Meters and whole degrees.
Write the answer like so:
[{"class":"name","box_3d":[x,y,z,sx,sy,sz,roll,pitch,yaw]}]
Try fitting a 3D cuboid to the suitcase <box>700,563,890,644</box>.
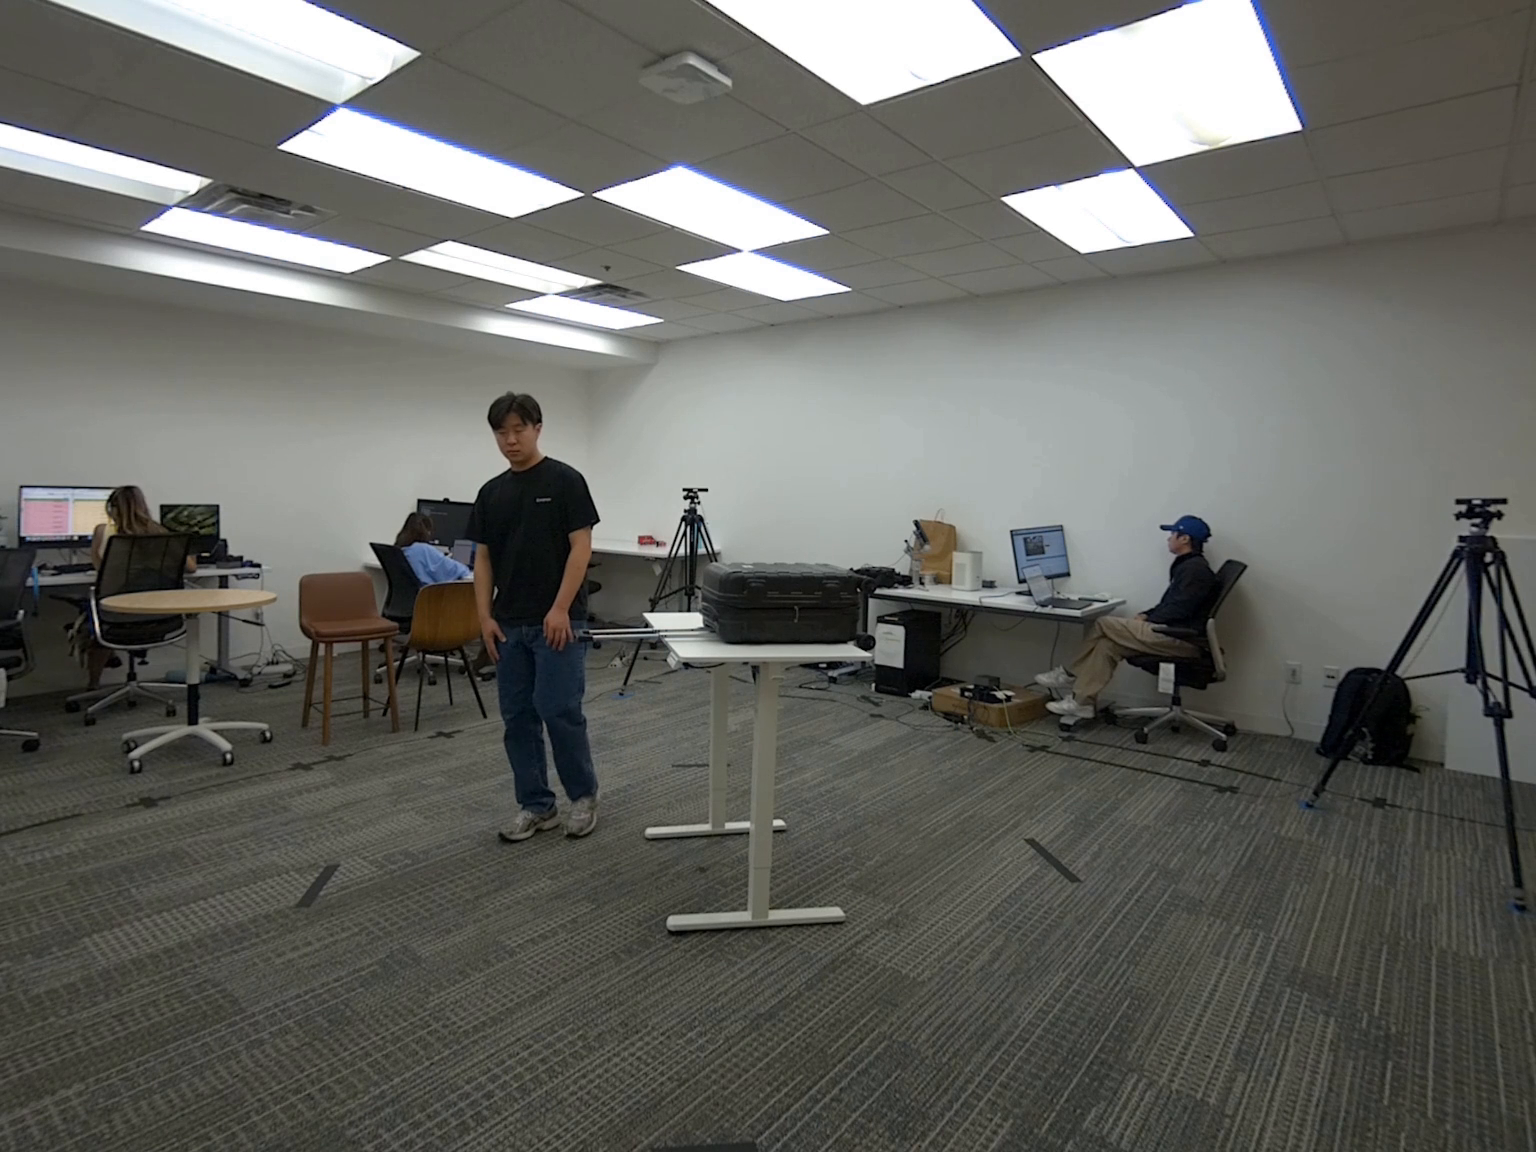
[{"class":"suitcase","box_3d":[-0.154,0.085,2.887,0.963,0.256,0.391,2,5,-15]}]
